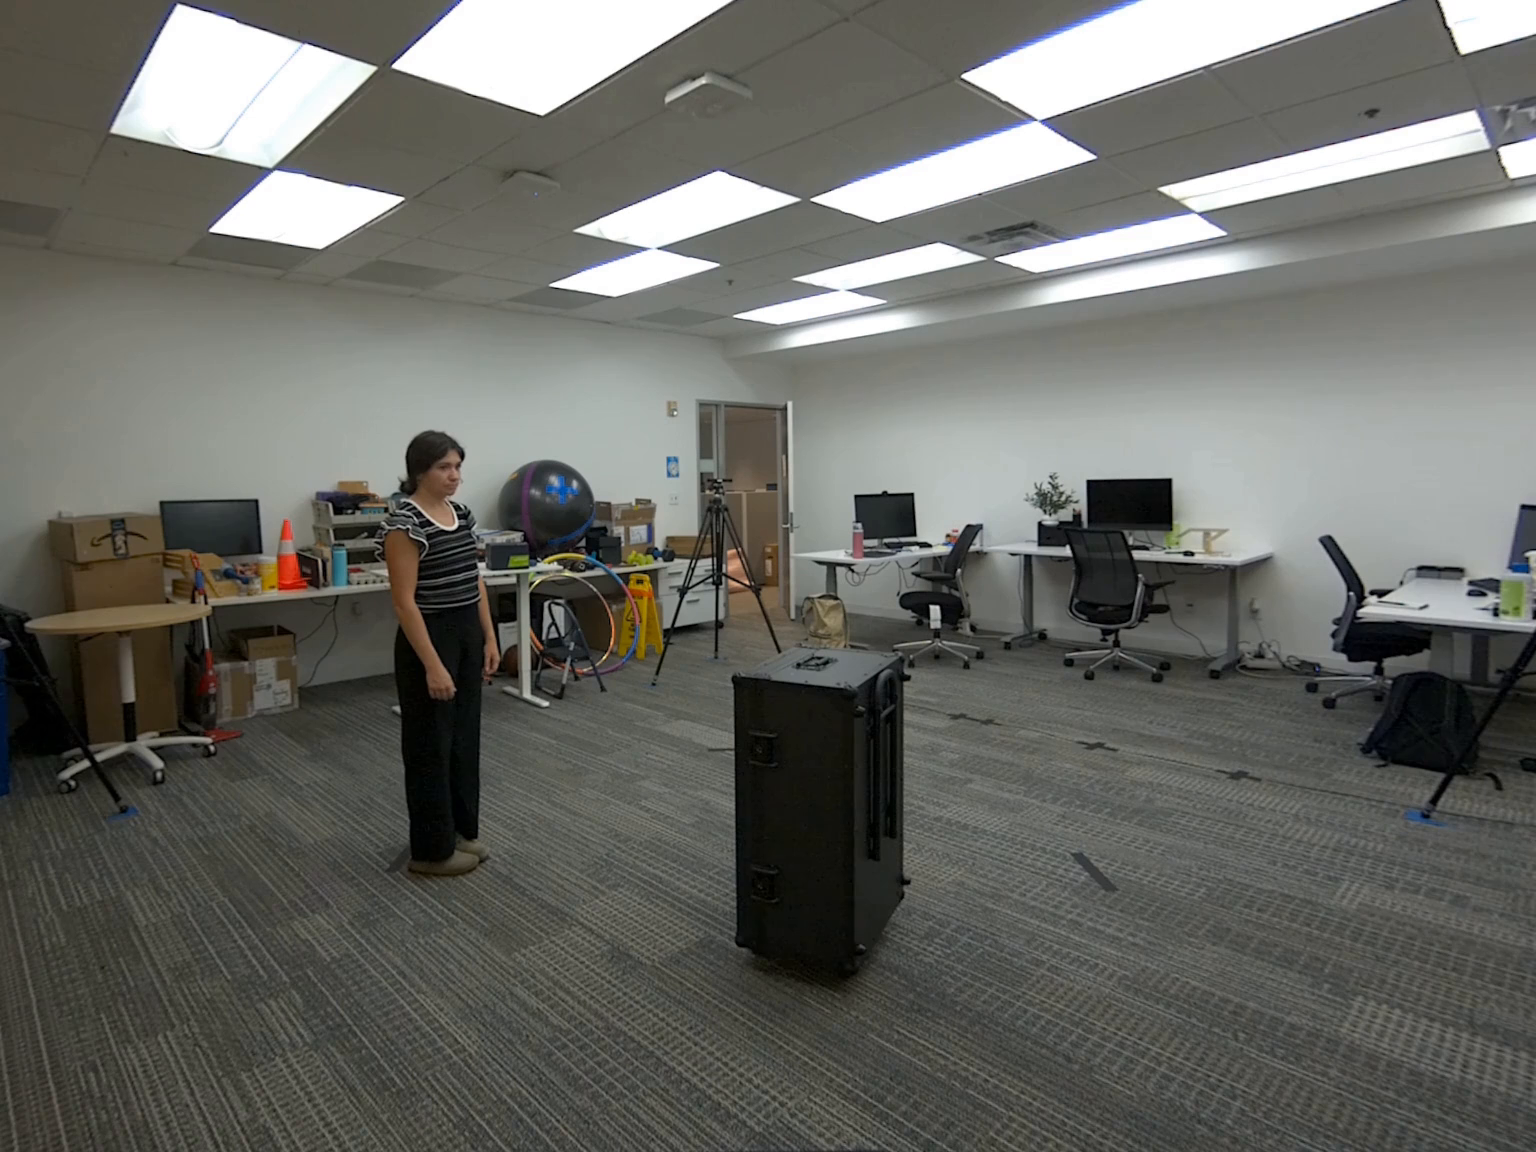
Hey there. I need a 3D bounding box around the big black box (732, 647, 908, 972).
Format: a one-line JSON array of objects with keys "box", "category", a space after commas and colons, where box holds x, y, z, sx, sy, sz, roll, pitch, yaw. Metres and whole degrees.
[{"box": [0.182, 0.686, 2.532, 0.406, 0.858, 0.511, 2, 5, 26], "category": "big black box"}]
